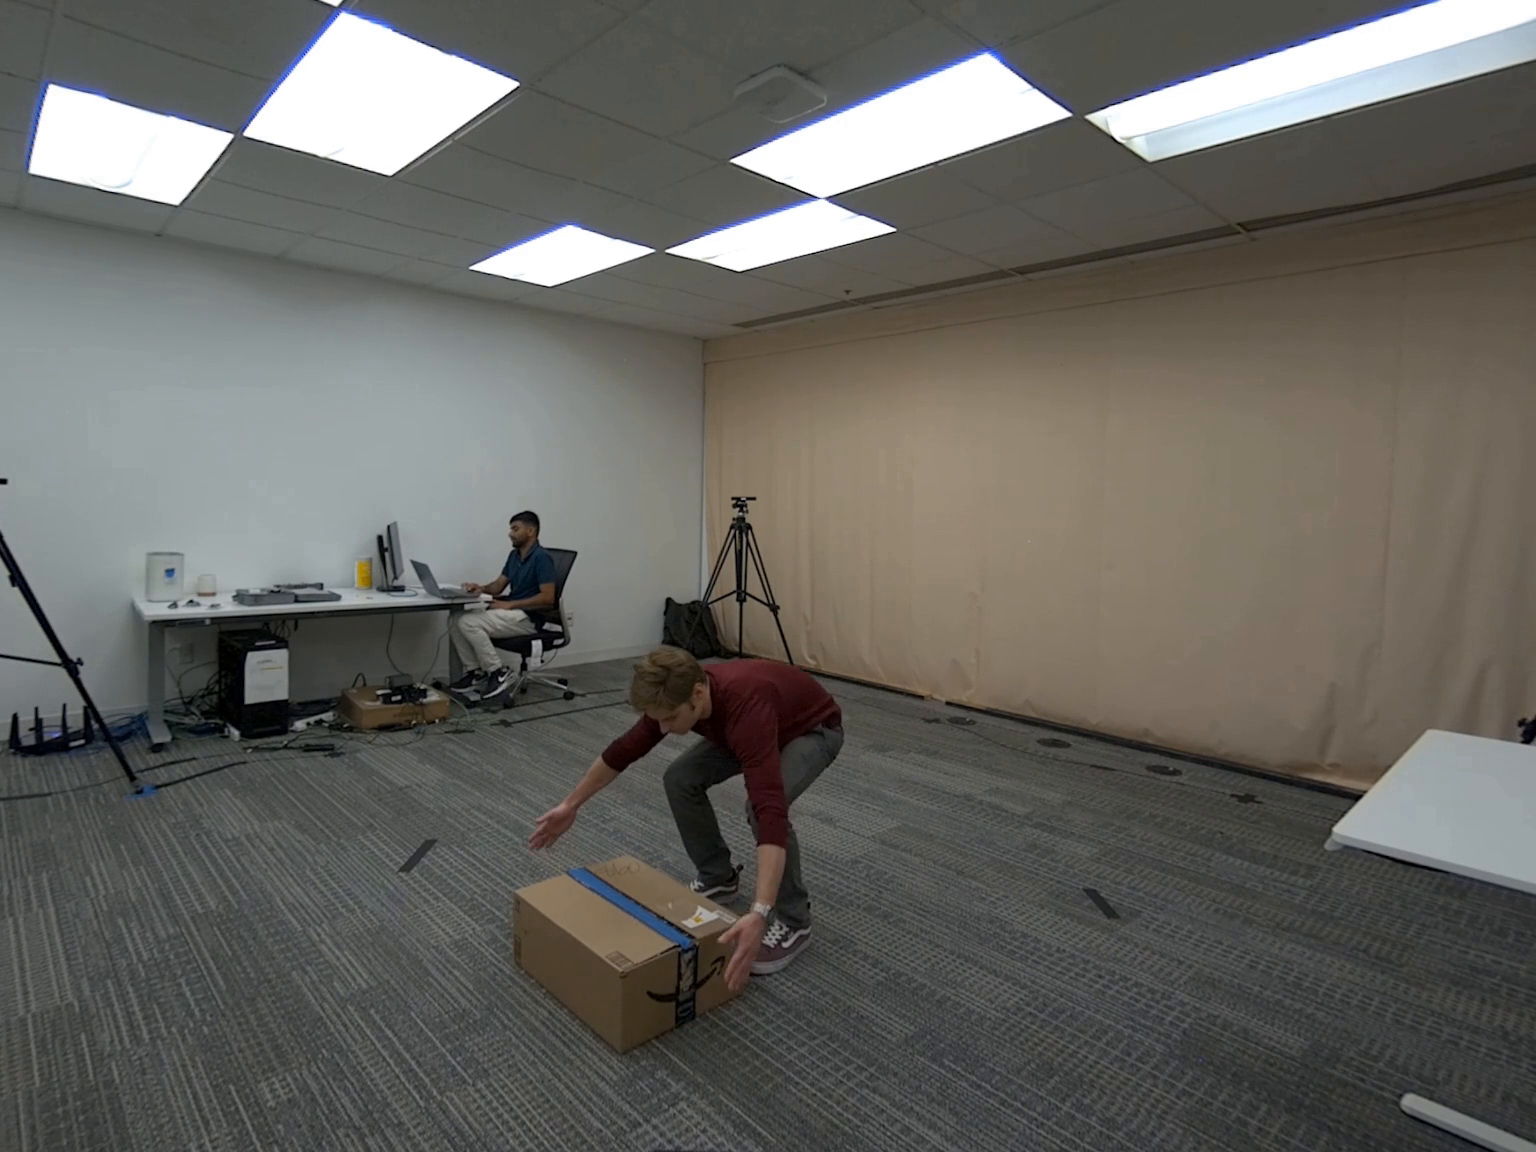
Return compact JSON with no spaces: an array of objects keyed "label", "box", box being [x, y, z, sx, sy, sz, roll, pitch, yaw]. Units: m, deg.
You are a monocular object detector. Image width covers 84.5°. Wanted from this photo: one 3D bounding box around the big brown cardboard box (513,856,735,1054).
[{"label":"big brown cardboard box","box":[-0.413,1.053,2.423,0.408,0.232,0.604,-3,6,-43]}]
